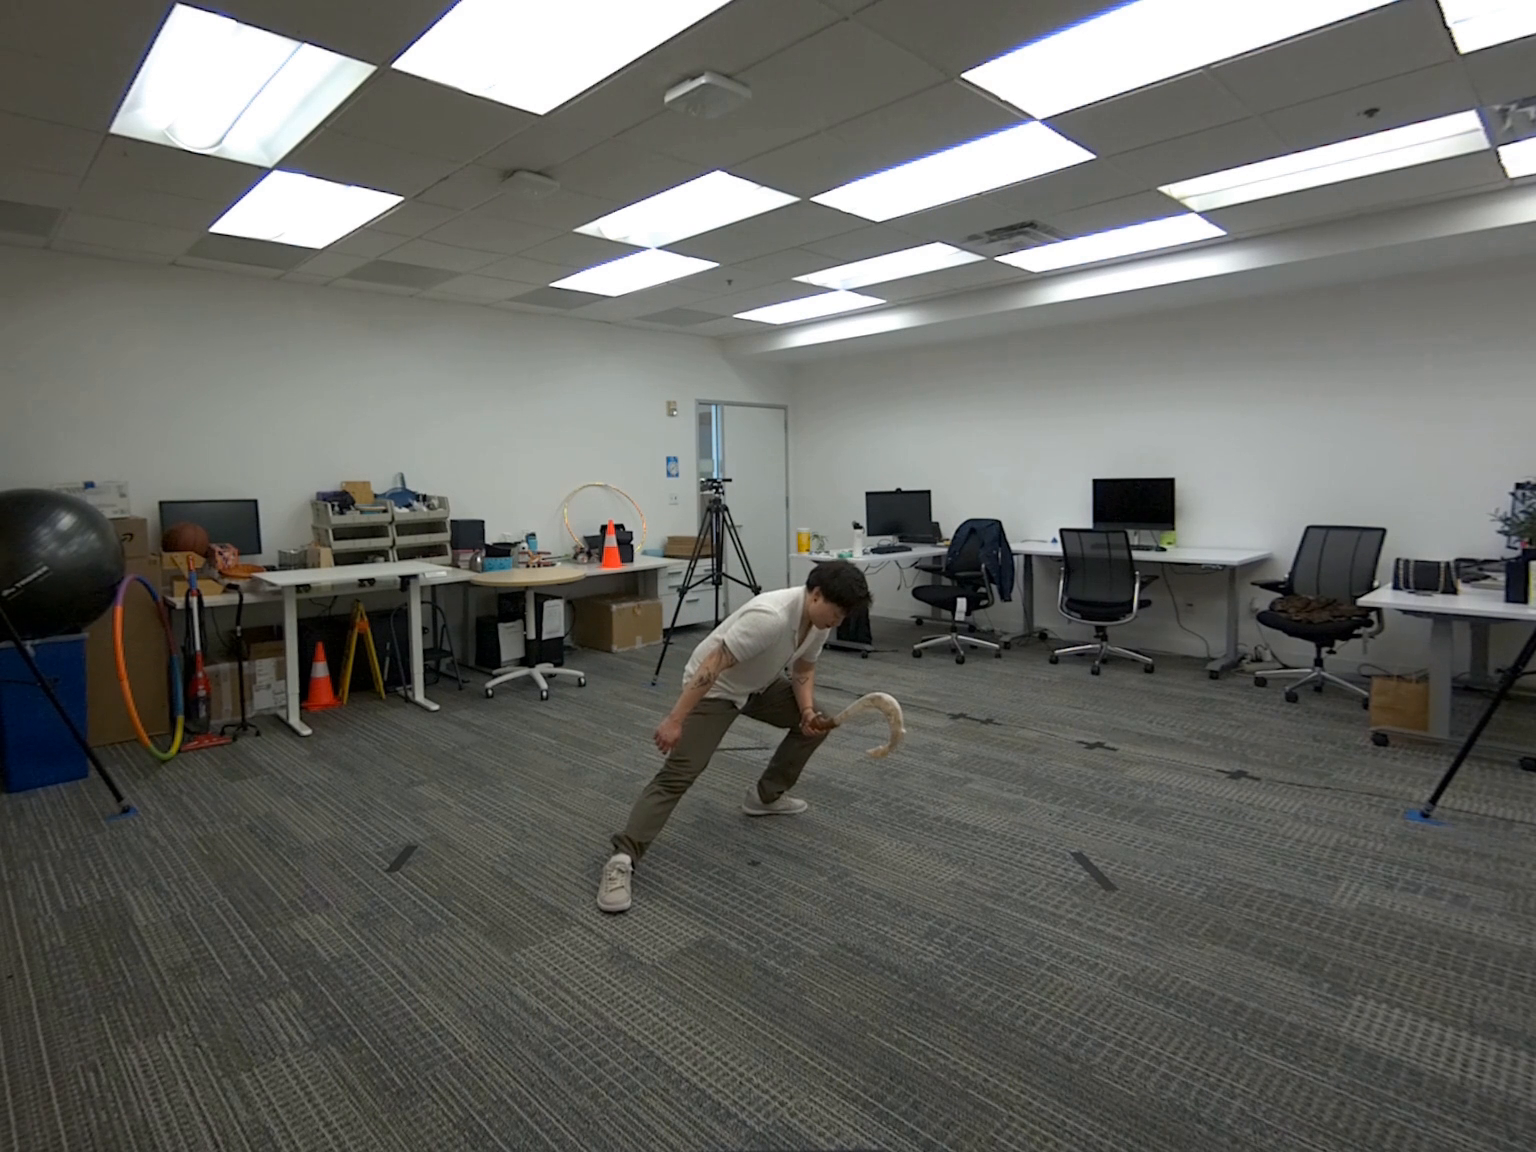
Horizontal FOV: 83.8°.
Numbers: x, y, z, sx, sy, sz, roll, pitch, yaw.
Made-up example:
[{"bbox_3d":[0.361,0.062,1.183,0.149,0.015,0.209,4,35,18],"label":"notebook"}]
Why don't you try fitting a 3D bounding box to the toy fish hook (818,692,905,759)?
[{"bbox_3d":[0.313,0.575,3.155,0.047,0.229,0.512,8,-23,-37],"label":"toy fish hook"}]
